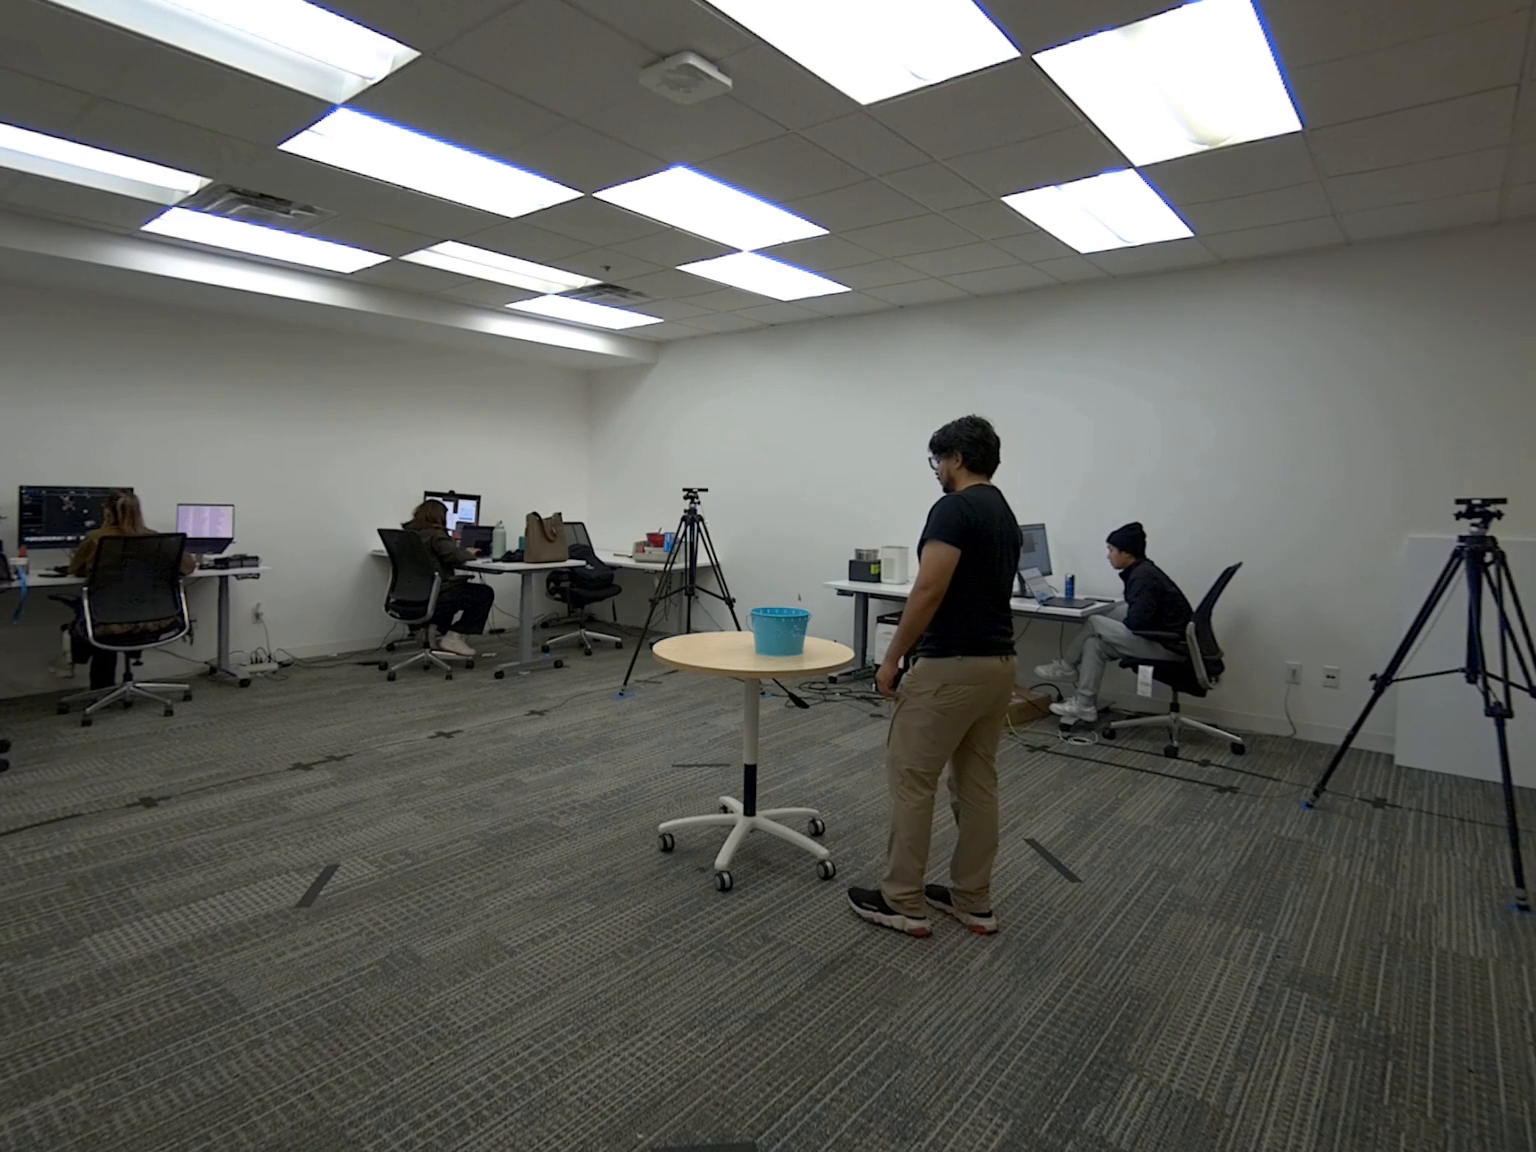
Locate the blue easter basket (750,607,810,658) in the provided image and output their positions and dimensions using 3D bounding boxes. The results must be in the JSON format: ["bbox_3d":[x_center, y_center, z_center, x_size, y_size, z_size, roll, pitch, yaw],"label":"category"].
[{"bbox_3d":[0.037,0.207,3.211,0.243,0.155,0.245,1,5,-2],"label":"blue easter basket"}]
